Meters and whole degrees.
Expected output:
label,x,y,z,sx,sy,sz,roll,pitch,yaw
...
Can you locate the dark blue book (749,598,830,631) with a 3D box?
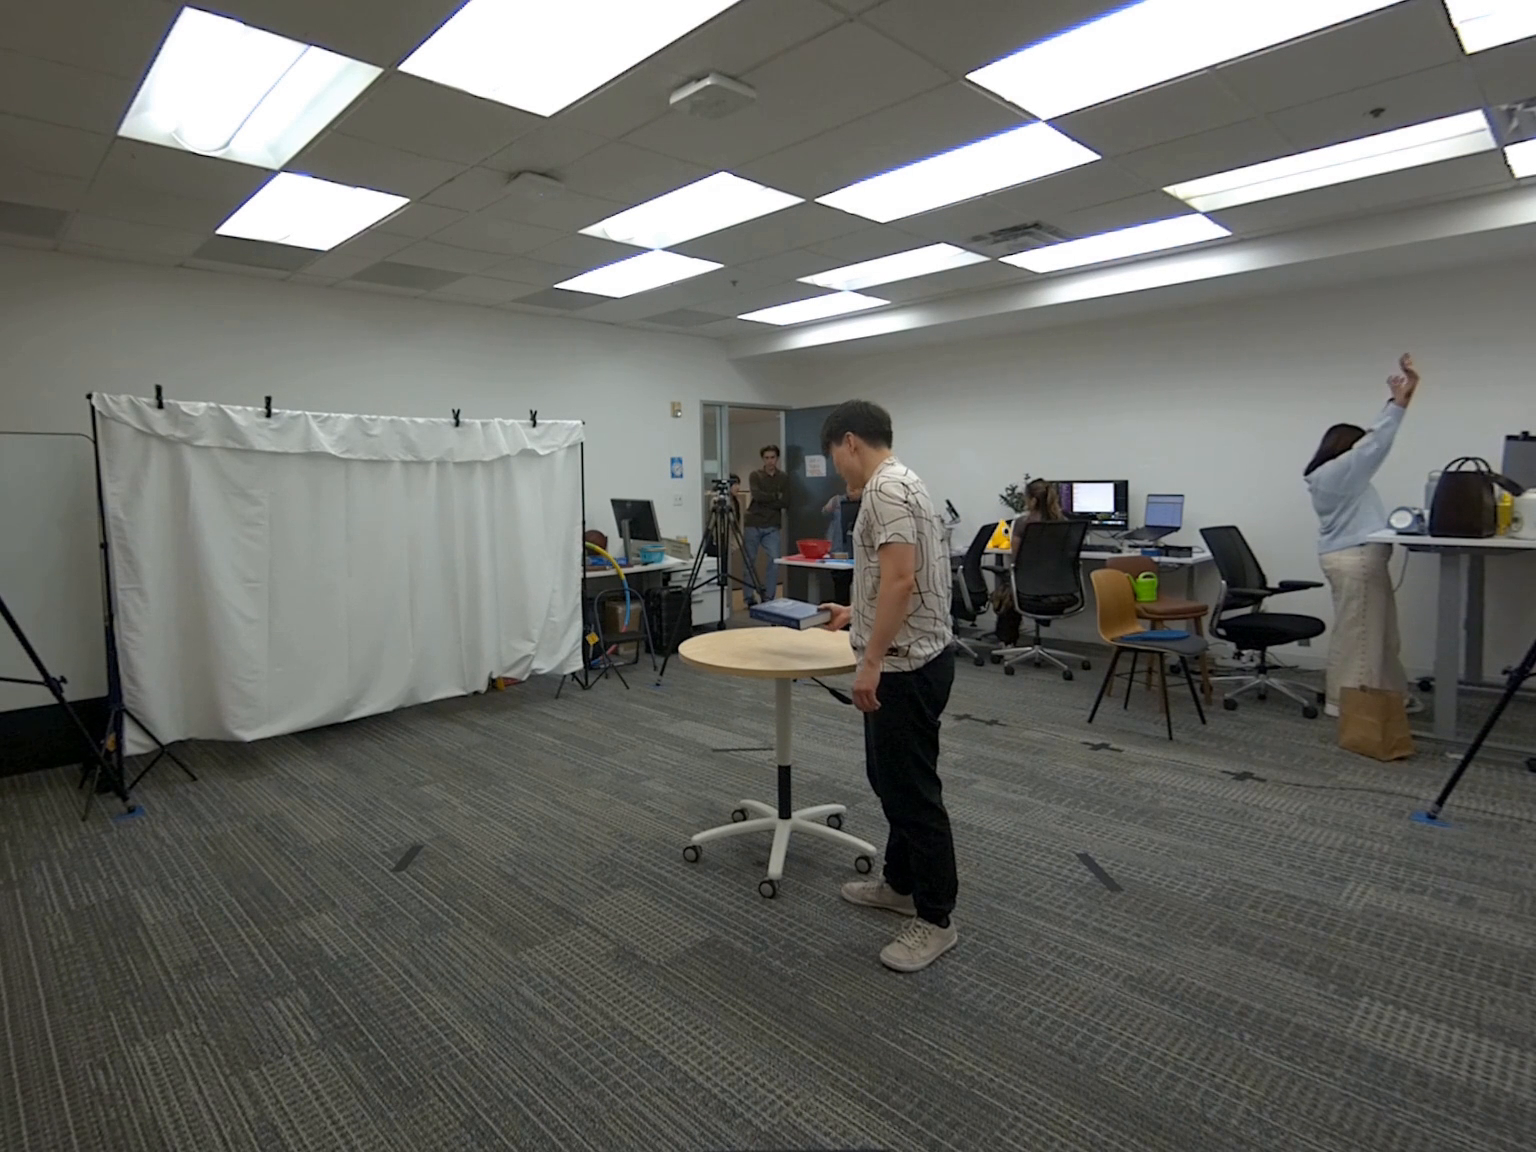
label,x,y,z,sx,sy,sz,roll,pitch,yaw
dark blue book,0.071,0.133,2.970,0.159,0.045,0.253,-12,15,-40
